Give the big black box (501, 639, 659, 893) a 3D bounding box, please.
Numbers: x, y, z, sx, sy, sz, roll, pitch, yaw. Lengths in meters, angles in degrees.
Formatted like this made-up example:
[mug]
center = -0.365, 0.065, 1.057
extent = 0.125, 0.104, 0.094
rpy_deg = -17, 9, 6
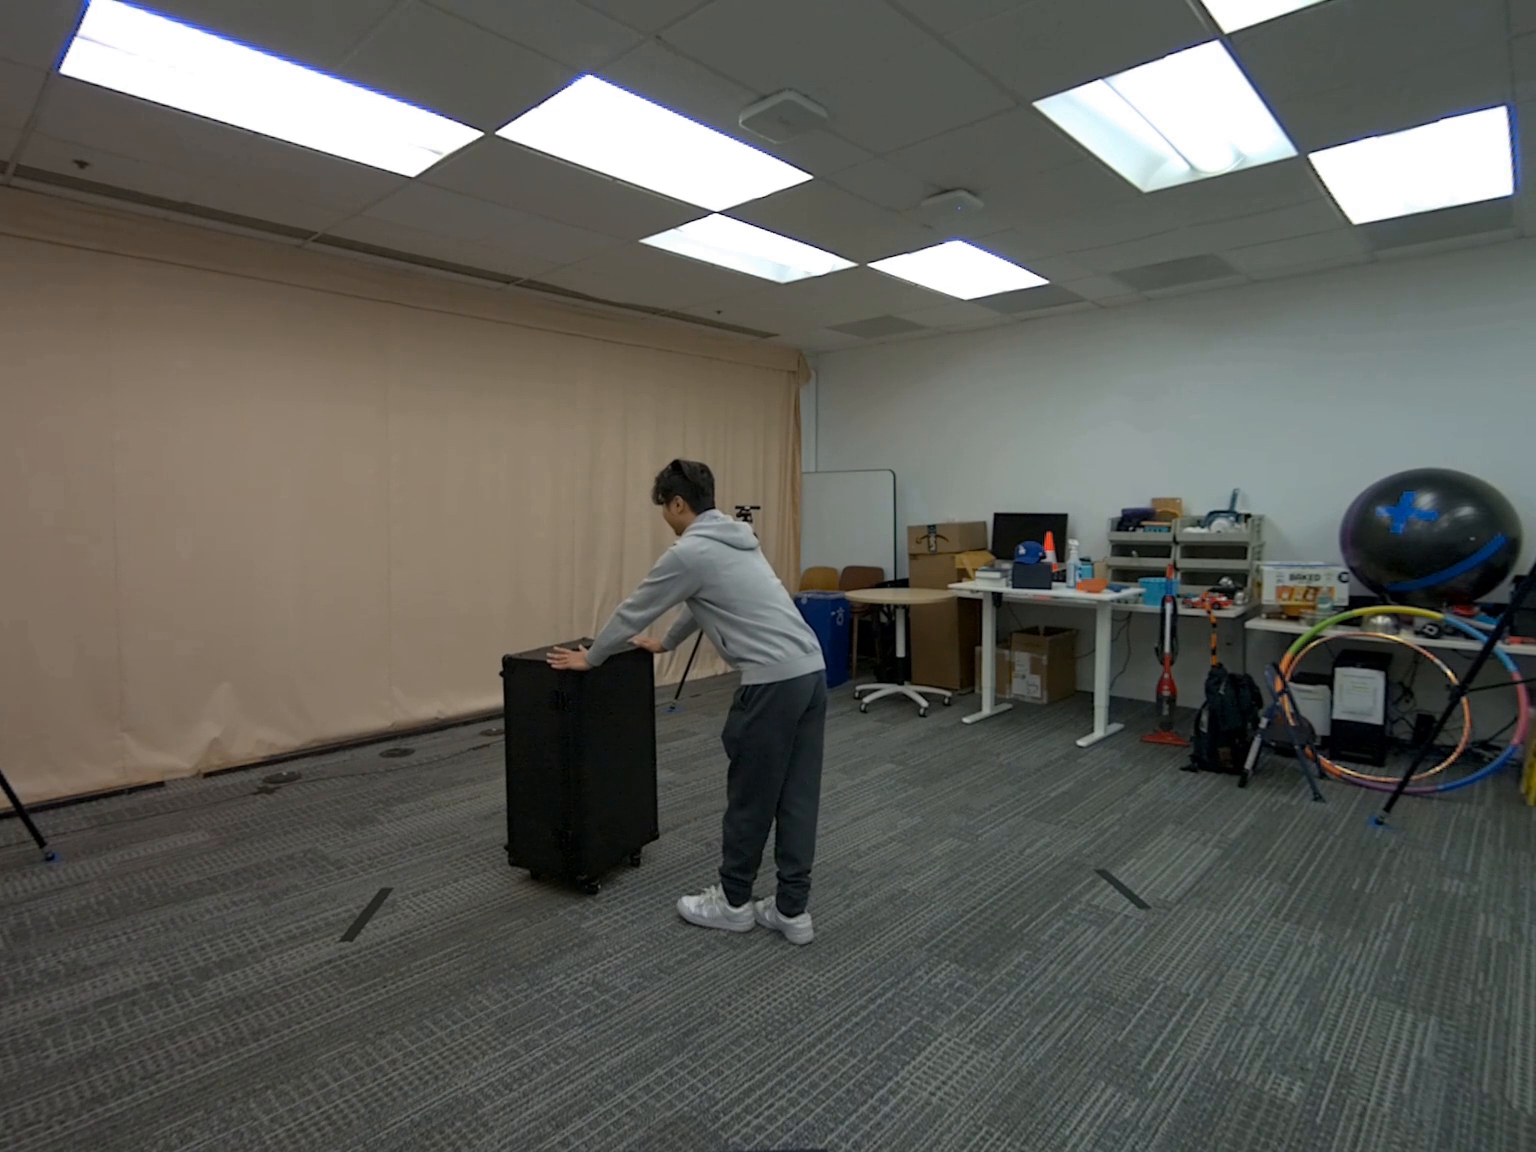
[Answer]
[big black box]
center = -0.715, 0.704, 3.226
extent = 0.407, 0.860, 0.508
rpy_deg = 1, 3, 29
